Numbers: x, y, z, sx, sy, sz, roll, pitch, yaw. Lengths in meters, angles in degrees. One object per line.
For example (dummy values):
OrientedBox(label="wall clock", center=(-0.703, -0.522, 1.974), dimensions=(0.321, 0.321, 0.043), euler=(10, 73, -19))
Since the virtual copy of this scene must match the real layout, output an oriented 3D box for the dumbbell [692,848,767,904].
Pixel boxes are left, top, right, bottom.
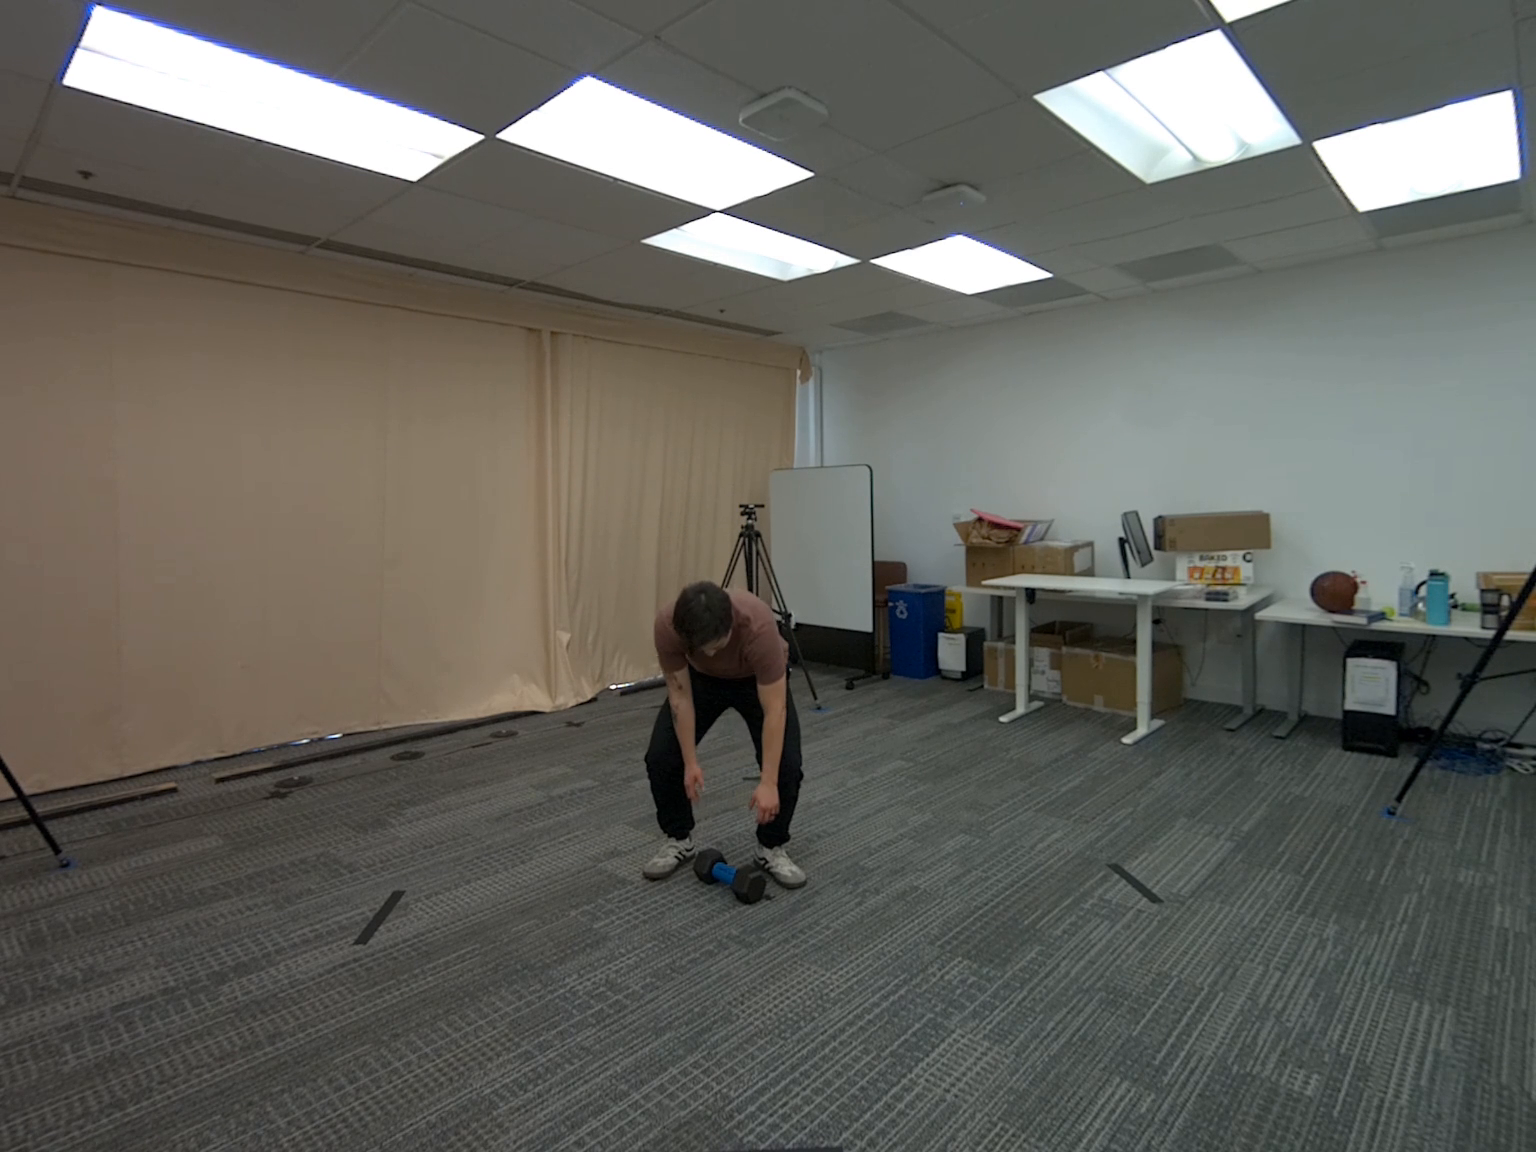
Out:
OrientedBox(label="dumbbell", center=(-0.137, 1.082, 3.046), dimensions=(0.303, 0.120, 0.107), euler=(5, 37, 47))
